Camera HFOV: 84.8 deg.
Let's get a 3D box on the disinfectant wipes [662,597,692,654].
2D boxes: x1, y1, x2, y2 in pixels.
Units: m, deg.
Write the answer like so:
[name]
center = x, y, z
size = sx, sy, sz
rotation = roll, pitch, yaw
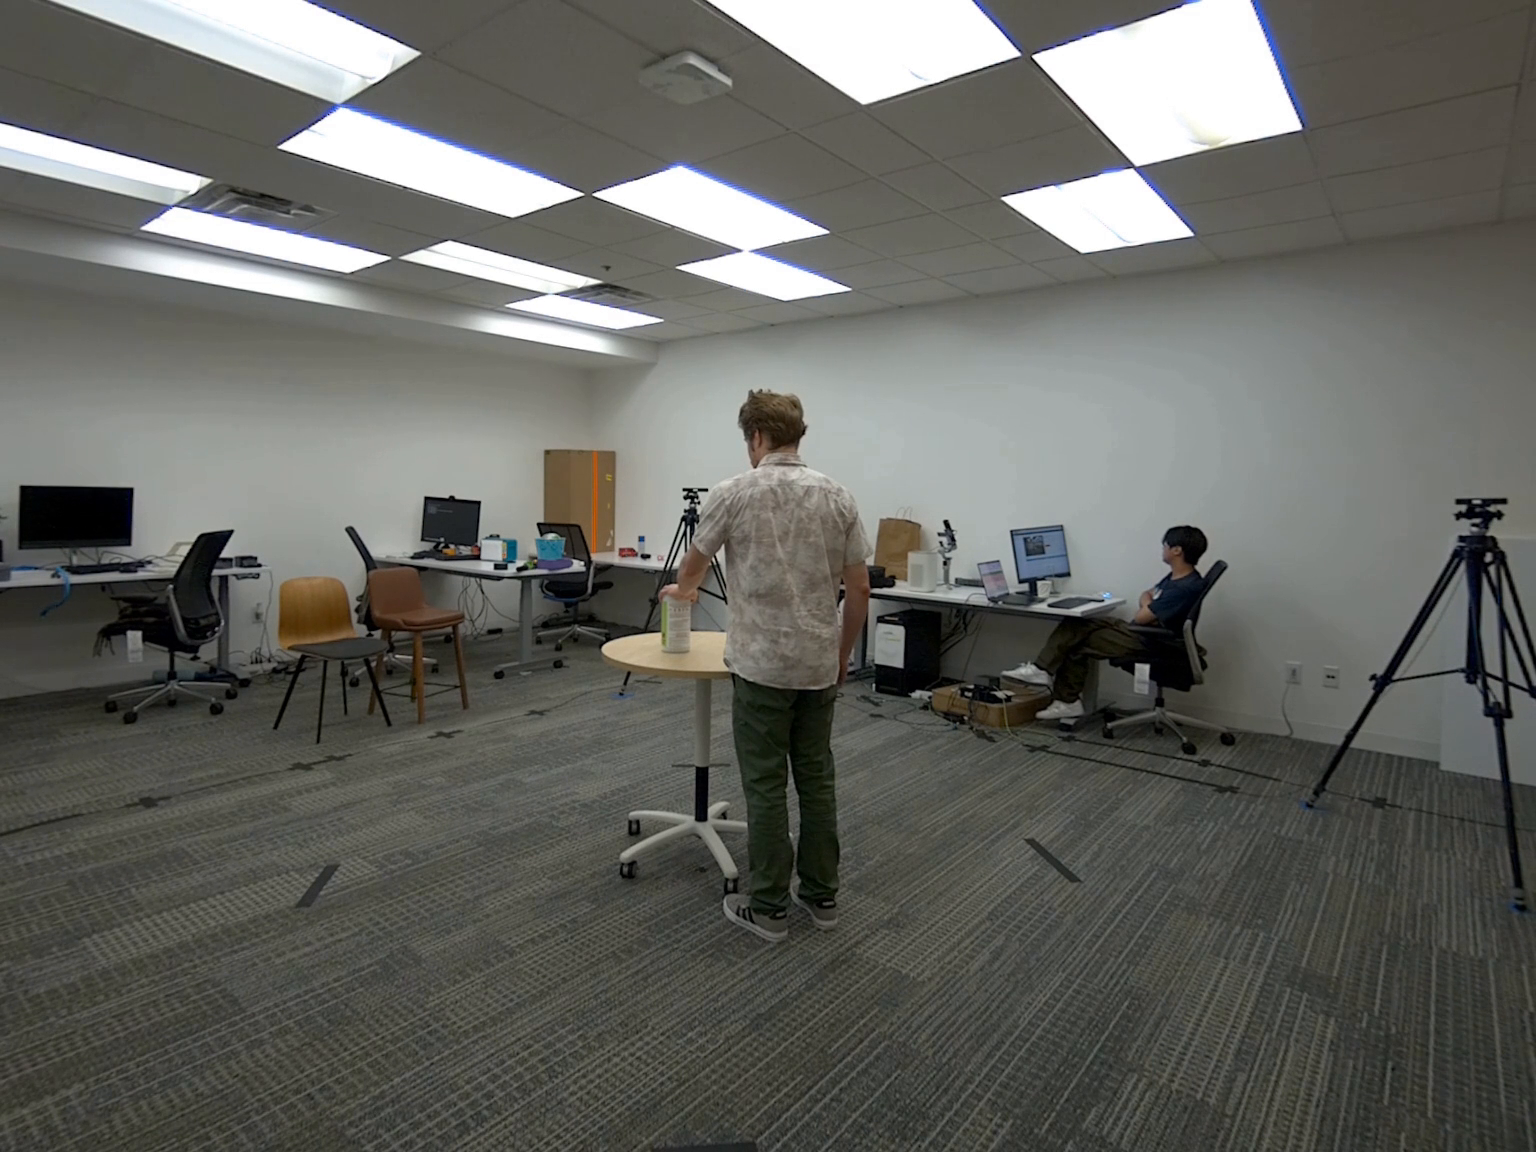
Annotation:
[disinfectant wipes]
center = -0.348, 0.167, 3.138
size = 0.118, 0.217, 0.118
rotation = -2, 2, -2
